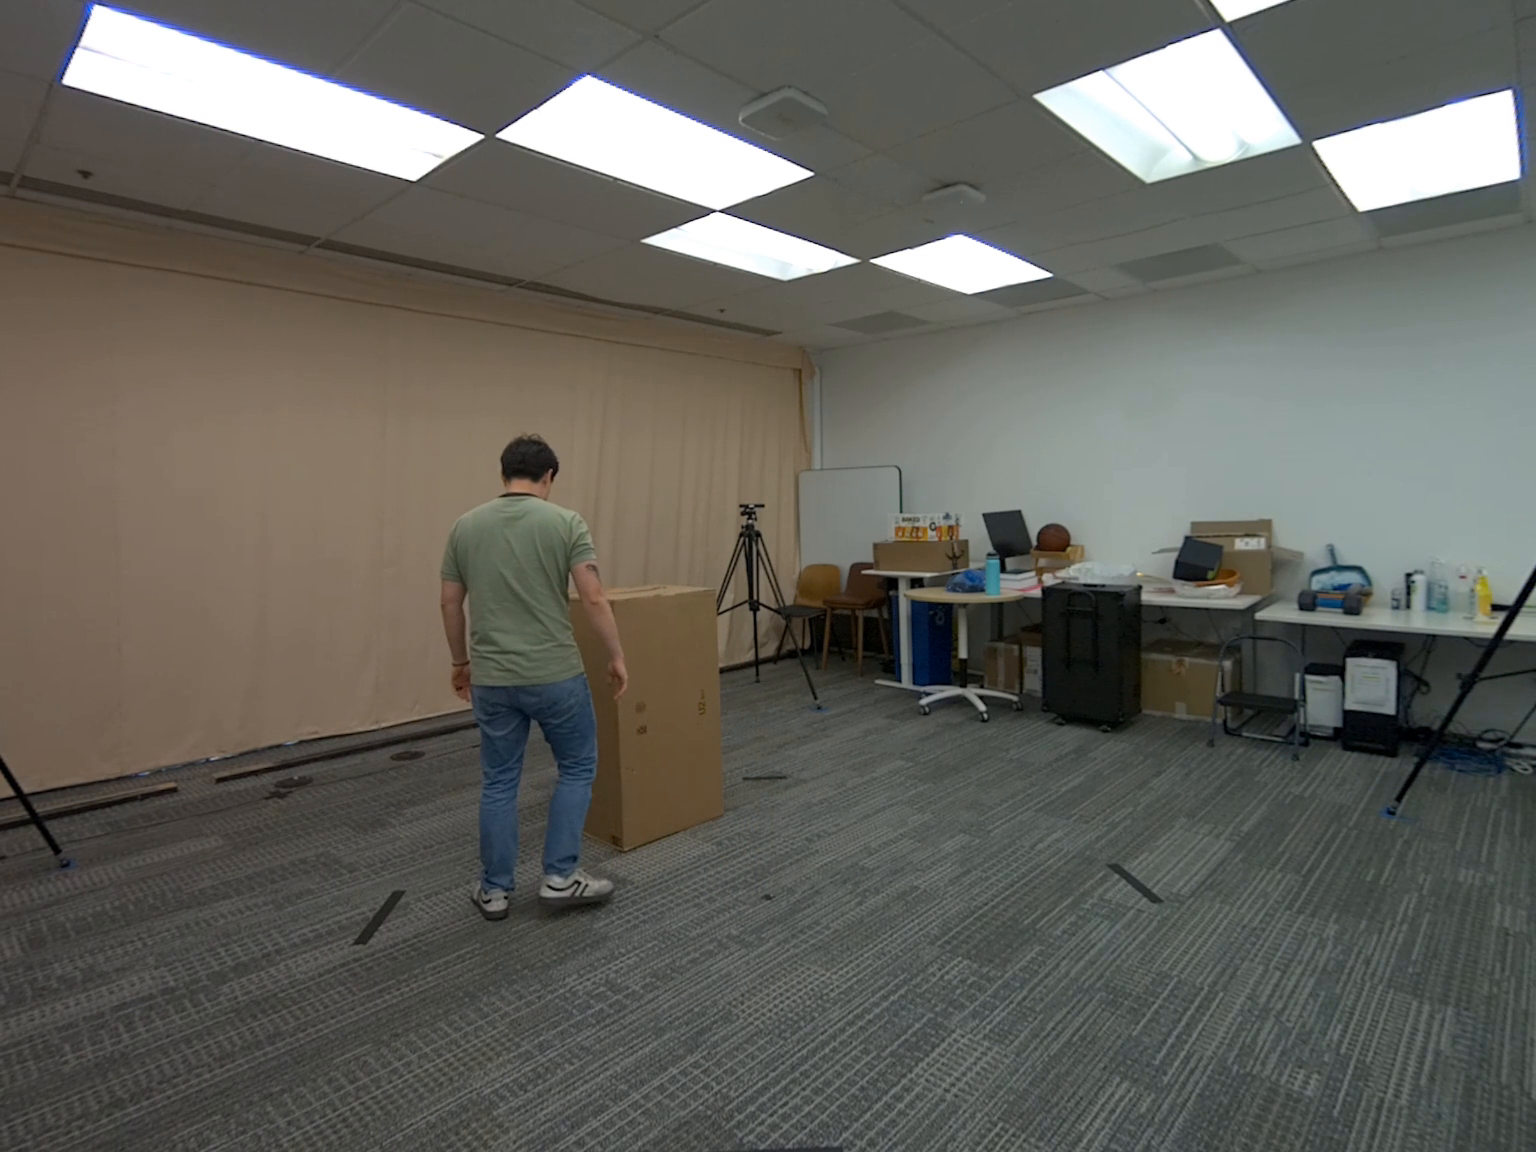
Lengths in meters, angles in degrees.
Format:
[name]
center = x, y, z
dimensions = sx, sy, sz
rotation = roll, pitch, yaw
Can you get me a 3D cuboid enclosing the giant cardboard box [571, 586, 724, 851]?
[giant cardboard box]
center = -0.561, 0.578, 3.720
dimensions = 0.440, 1.024, 0.560
rotation = 1, 4, 45
